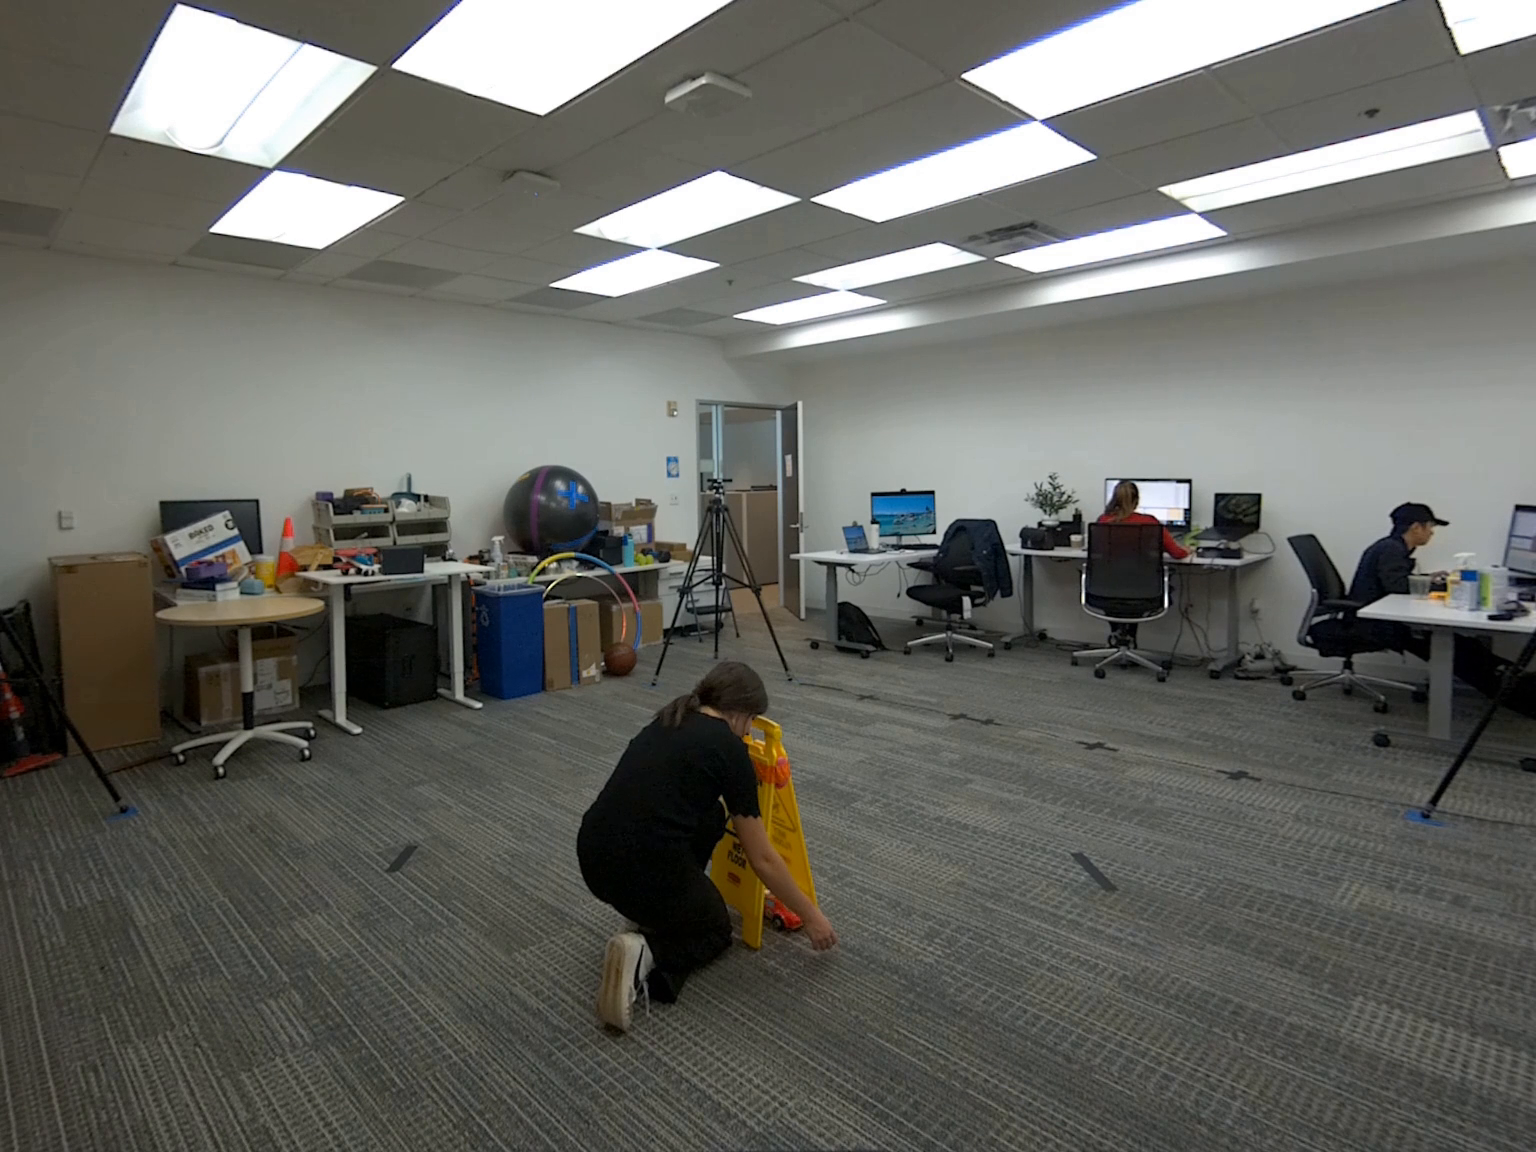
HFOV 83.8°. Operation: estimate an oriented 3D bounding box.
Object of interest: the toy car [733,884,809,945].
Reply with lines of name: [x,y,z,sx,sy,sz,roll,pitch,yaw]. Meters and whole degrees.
toy car: [0.018,1.064,2.711,0.127,0.083,0.260,-6,0,-34]
